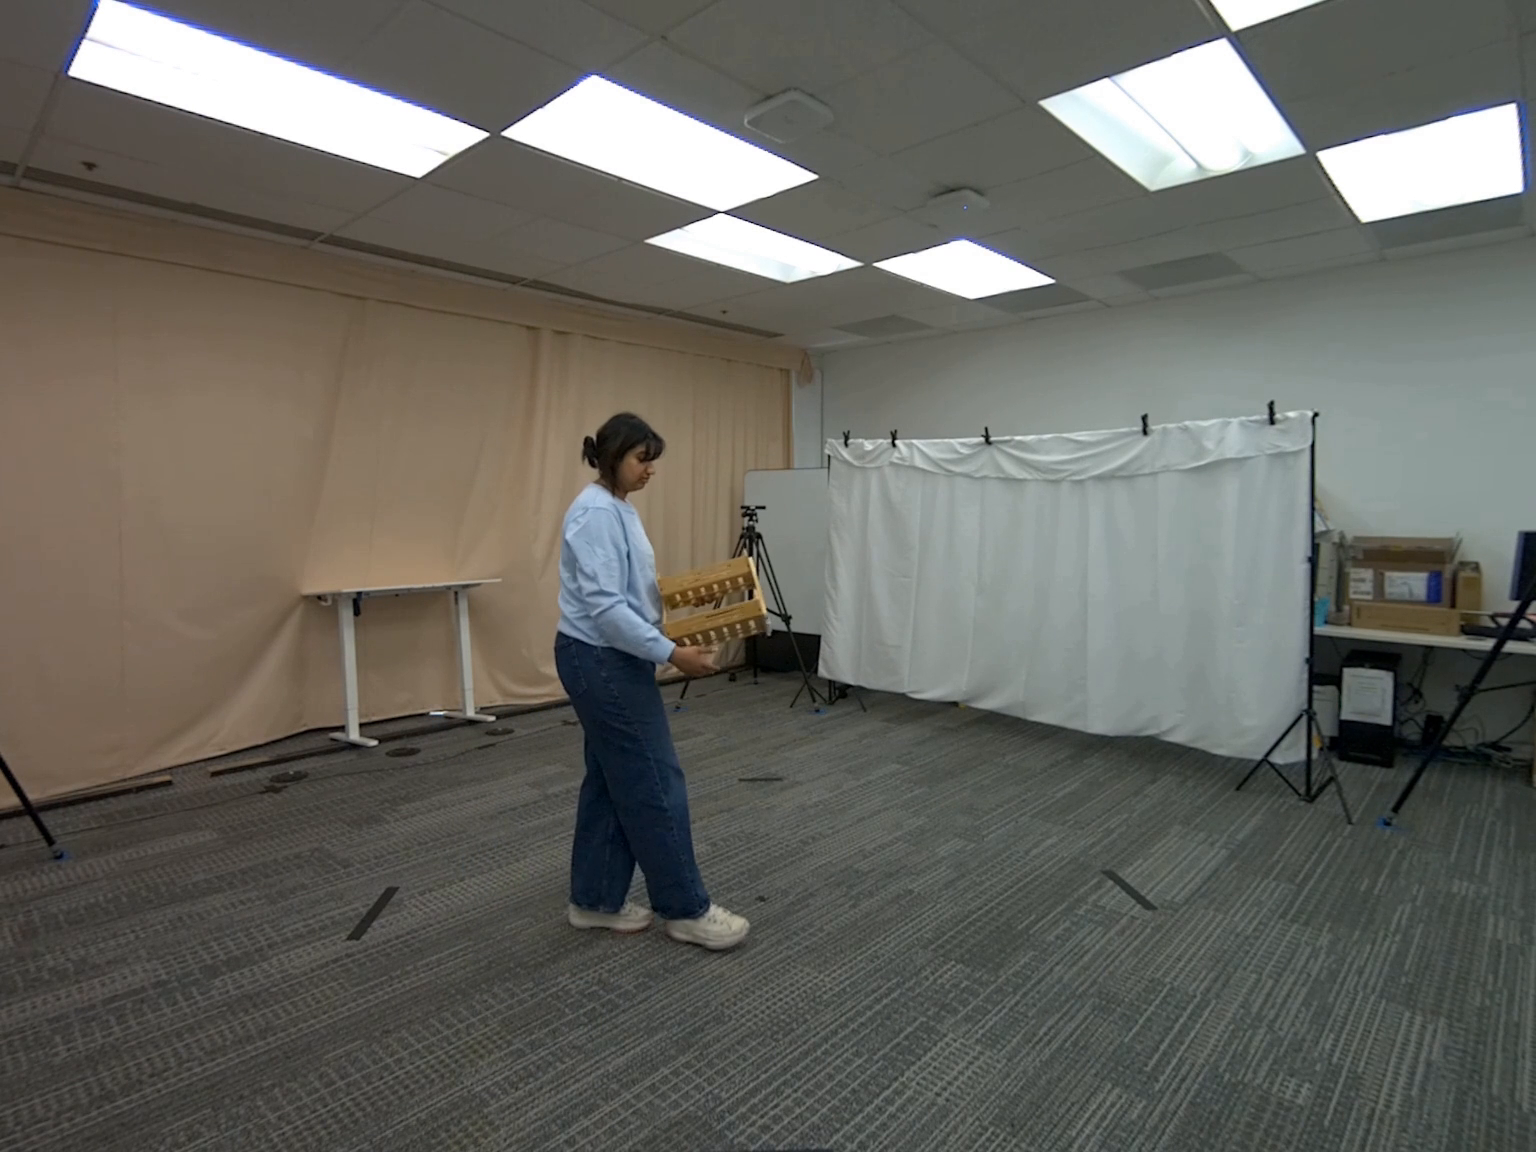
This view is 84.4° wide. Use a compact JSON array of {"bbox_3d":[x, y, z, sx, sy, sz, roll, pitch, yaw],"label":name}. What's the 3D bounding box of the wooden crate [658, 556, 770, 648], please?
[{"bbox_3d":[-0.185,0.073,2.701,0.326,0.278,0.296,-15,-19,4],"label":"wooden crate"}]
